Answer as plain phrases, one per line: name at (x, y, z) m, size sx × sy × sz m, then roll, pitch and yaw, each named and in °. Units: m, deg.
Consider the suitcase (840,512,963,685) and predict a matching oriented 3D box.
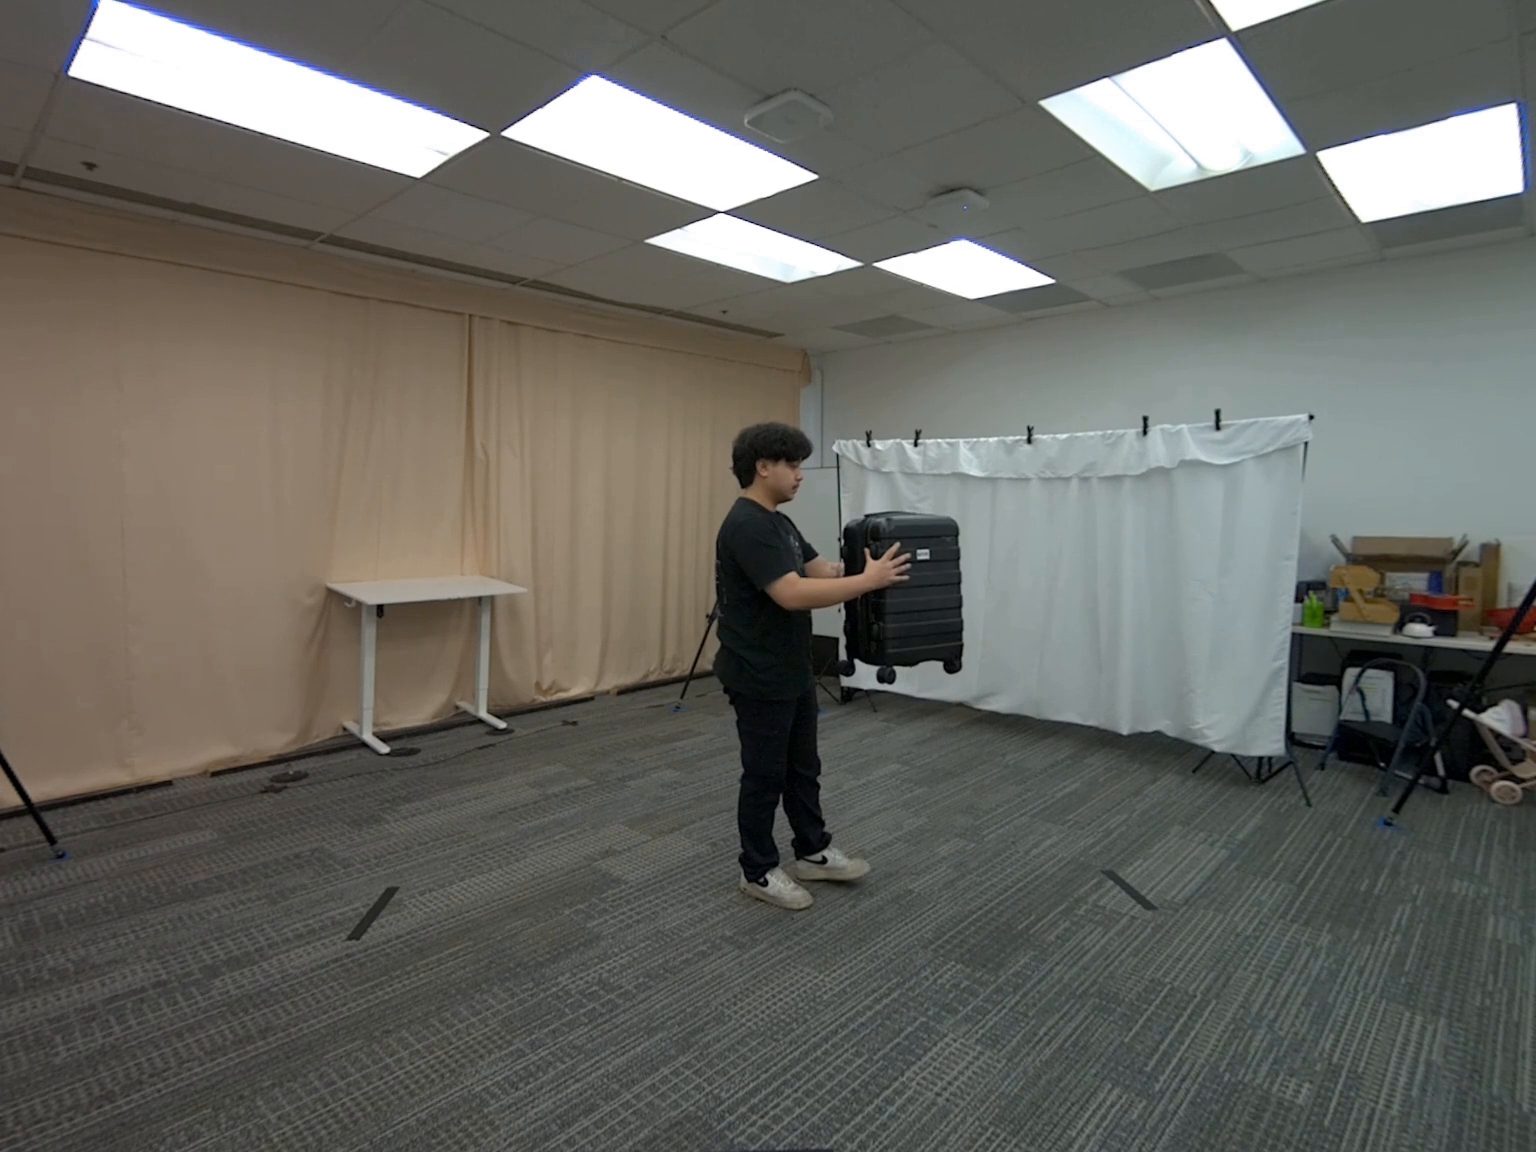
suitcase at (0.466, 0.060, 2.856) m, size 0.366 × 0.549 × 0.255 m, roll -2°, pitch 0°, yaw -28°
